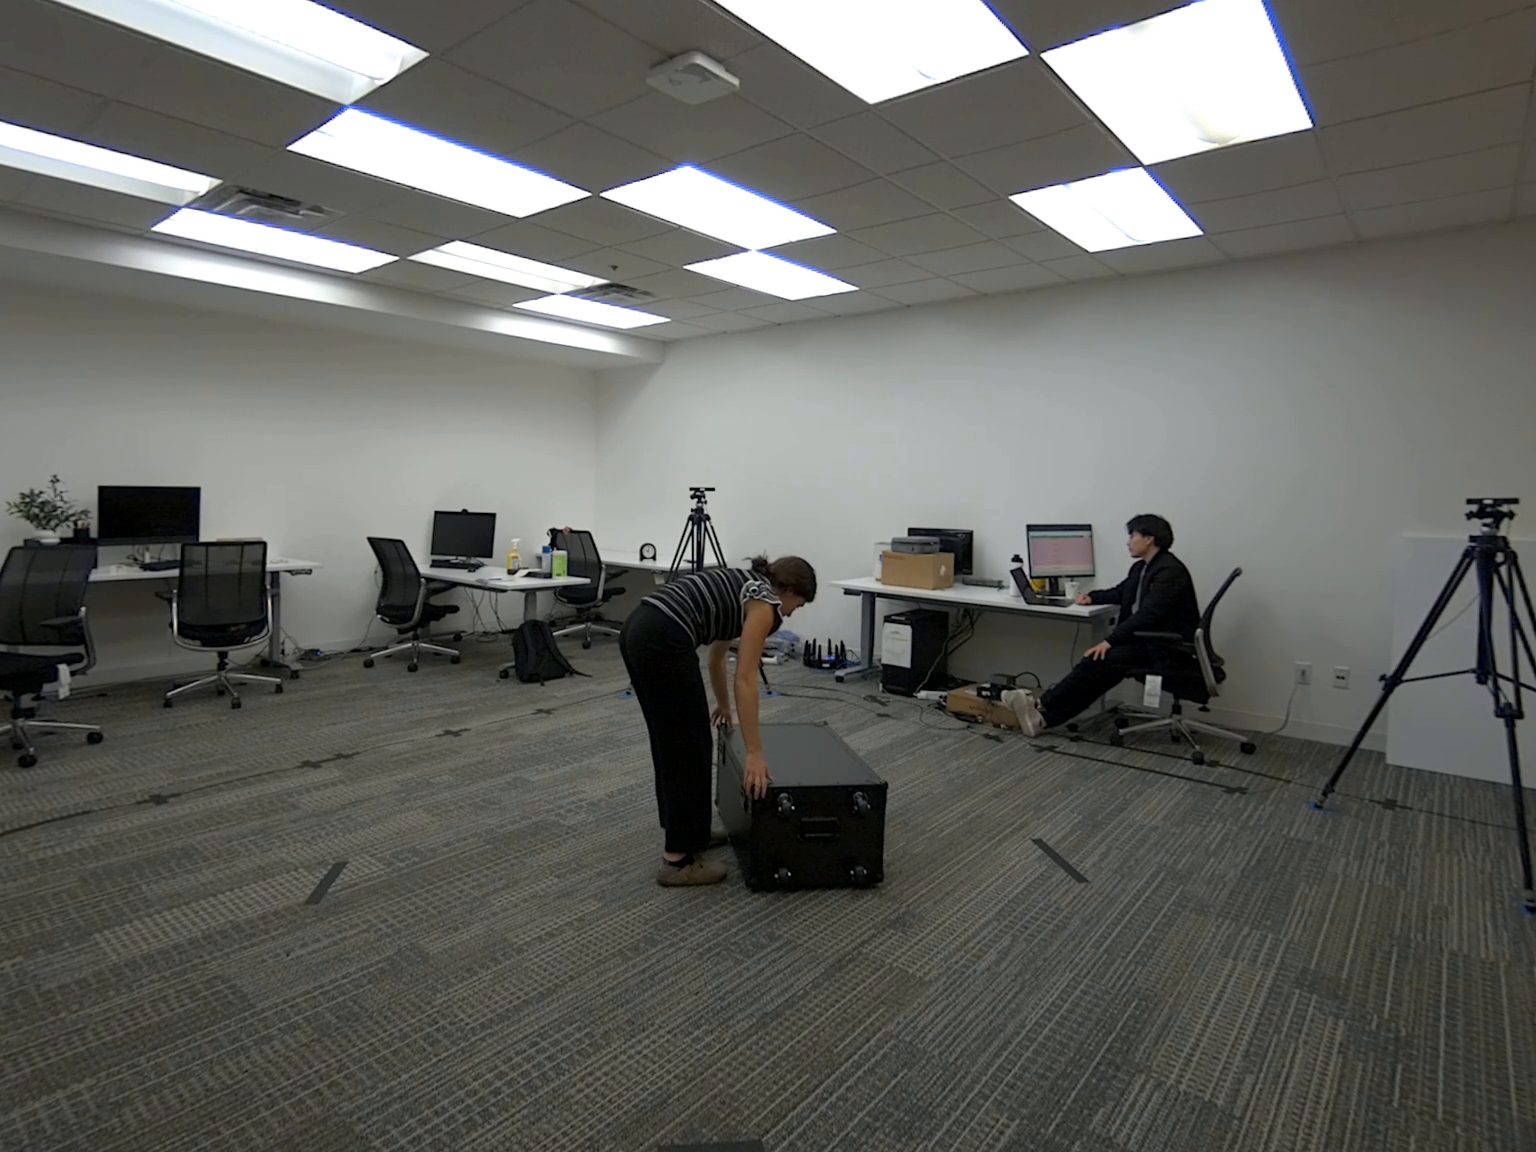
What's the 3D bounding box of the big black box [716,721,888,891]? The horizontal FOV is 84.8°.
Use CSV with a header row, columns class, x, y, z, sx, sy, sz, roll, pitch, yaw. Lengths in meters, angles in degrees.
class,x,y,z,sx,sy,sz,roll,pitch,yaw
big black box,0.092,0.865,3.284,0.515,0.395,0.875,2,5,-12
